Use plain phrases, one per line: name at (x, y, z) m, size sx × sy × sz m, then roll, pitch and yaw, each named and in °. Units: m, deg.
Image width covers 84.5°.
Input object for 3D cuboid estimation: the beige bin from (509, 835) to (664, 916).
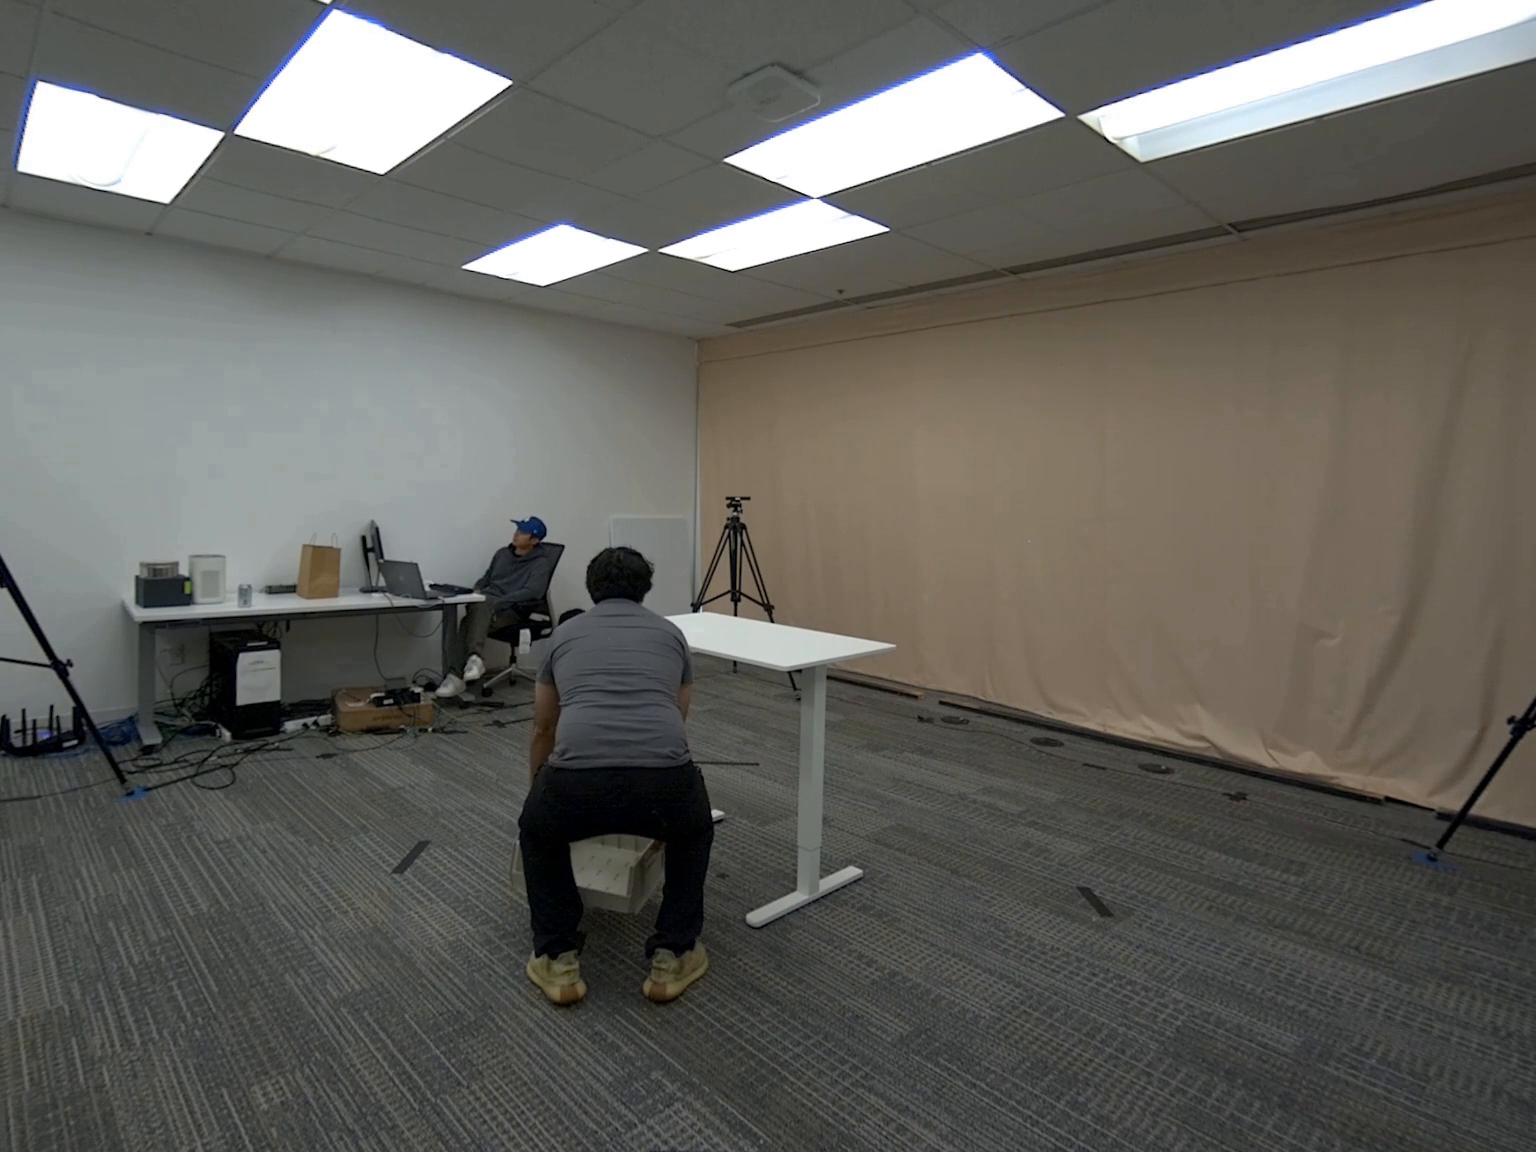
beige bin at (-0.563, 0.915, 2.718) m, size 0.427 × 0.188 × 0.375 m, roll 2°, pitch 9°, yaw 15°
